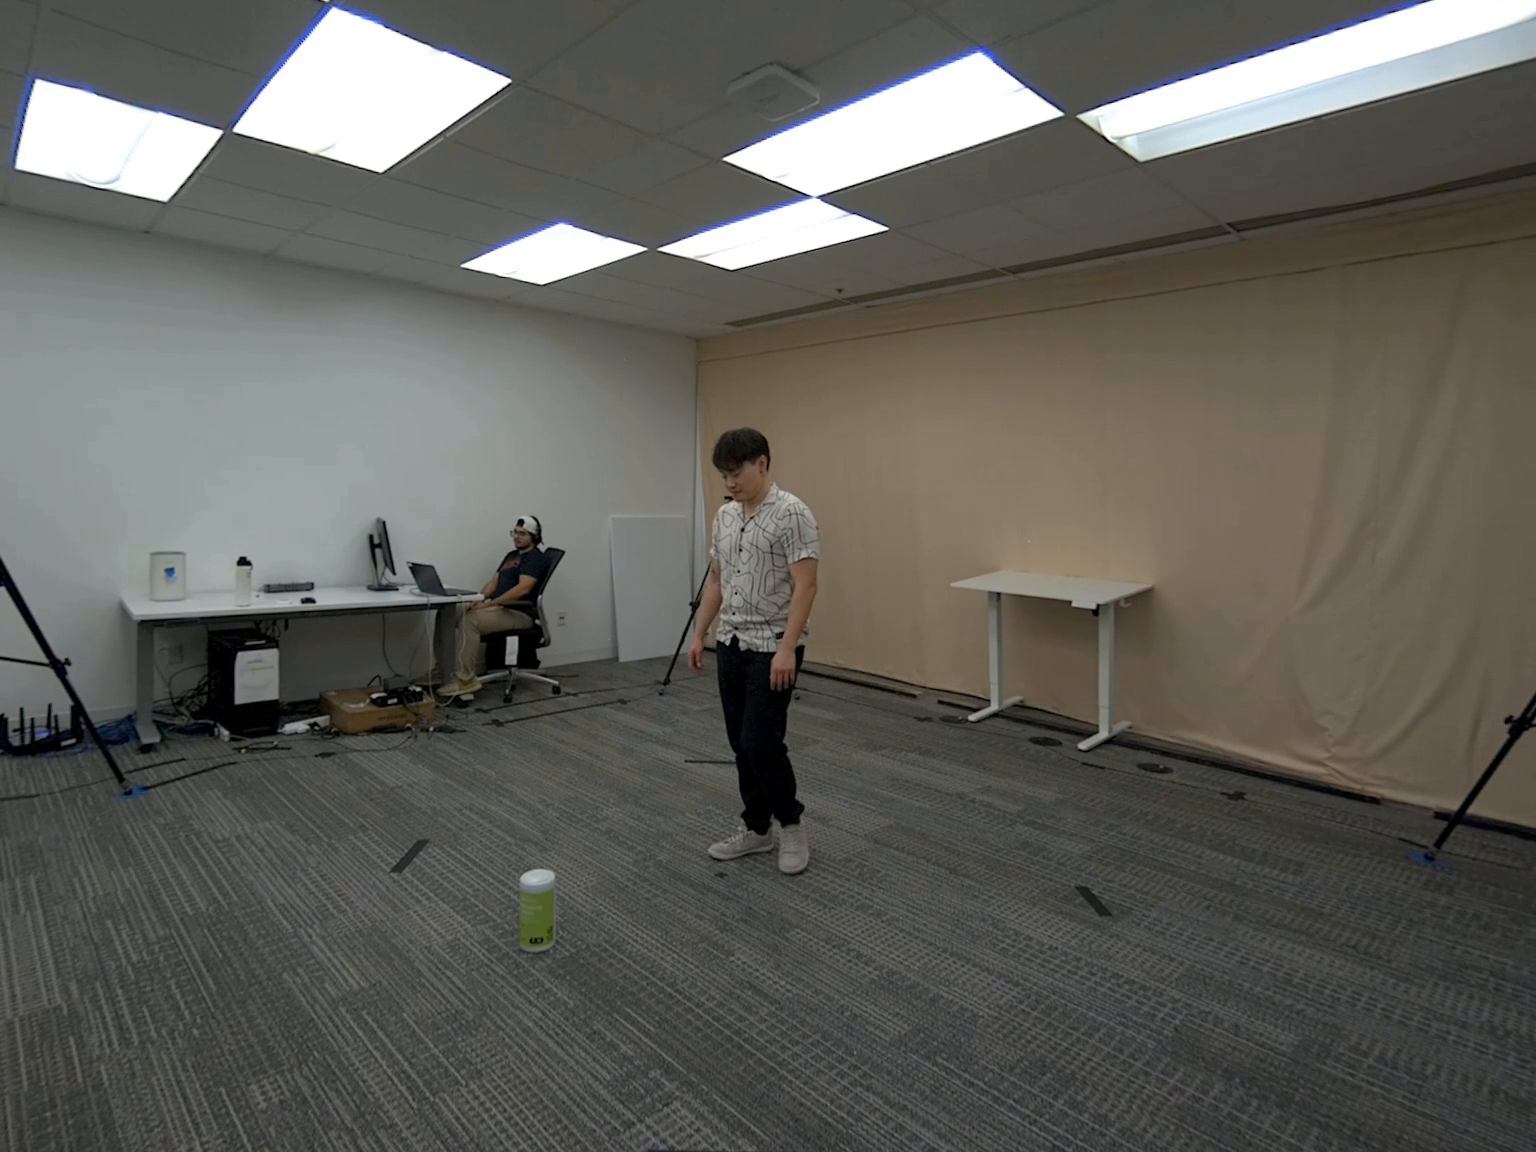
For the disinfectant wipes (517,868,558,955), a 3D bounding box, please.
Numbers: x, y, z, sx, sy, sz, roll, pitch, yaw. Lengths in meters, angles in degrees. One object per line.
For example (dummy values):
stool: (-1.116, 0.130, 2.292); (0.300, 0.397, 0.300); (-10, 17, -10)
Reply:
disinfectant wipes: (-0.719, 1.036, 2.592); (0.118, 0.217, 0.118); (3, 4, -2)
